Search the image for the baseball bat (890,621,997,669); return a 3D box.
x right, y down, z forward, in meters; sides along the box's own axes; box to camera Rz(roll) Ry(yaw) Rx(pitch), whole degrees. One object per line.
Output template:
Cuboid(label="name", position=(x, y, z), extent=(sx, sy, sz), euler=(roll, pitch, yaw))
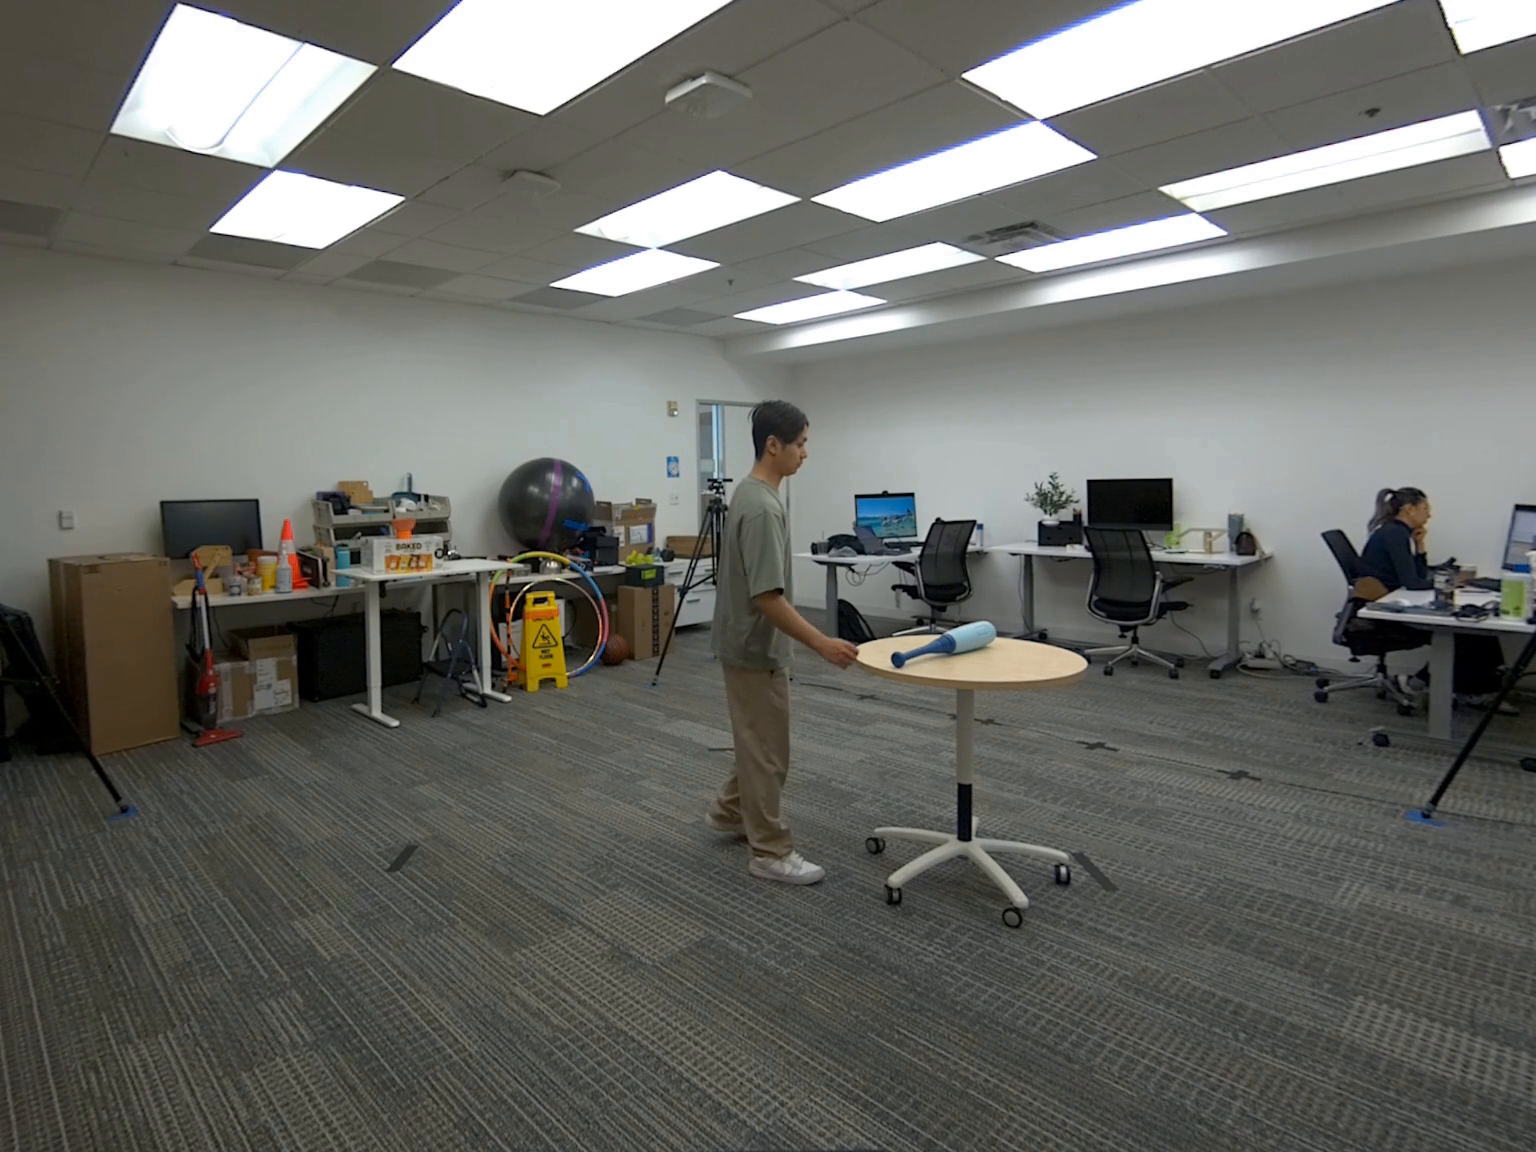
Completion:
Cuboid(label="baseball bat", position=(0.595, 0.232, 2.899), extent=(0.529, 0.088, 0.092), euler=(-9, 9, -42))
